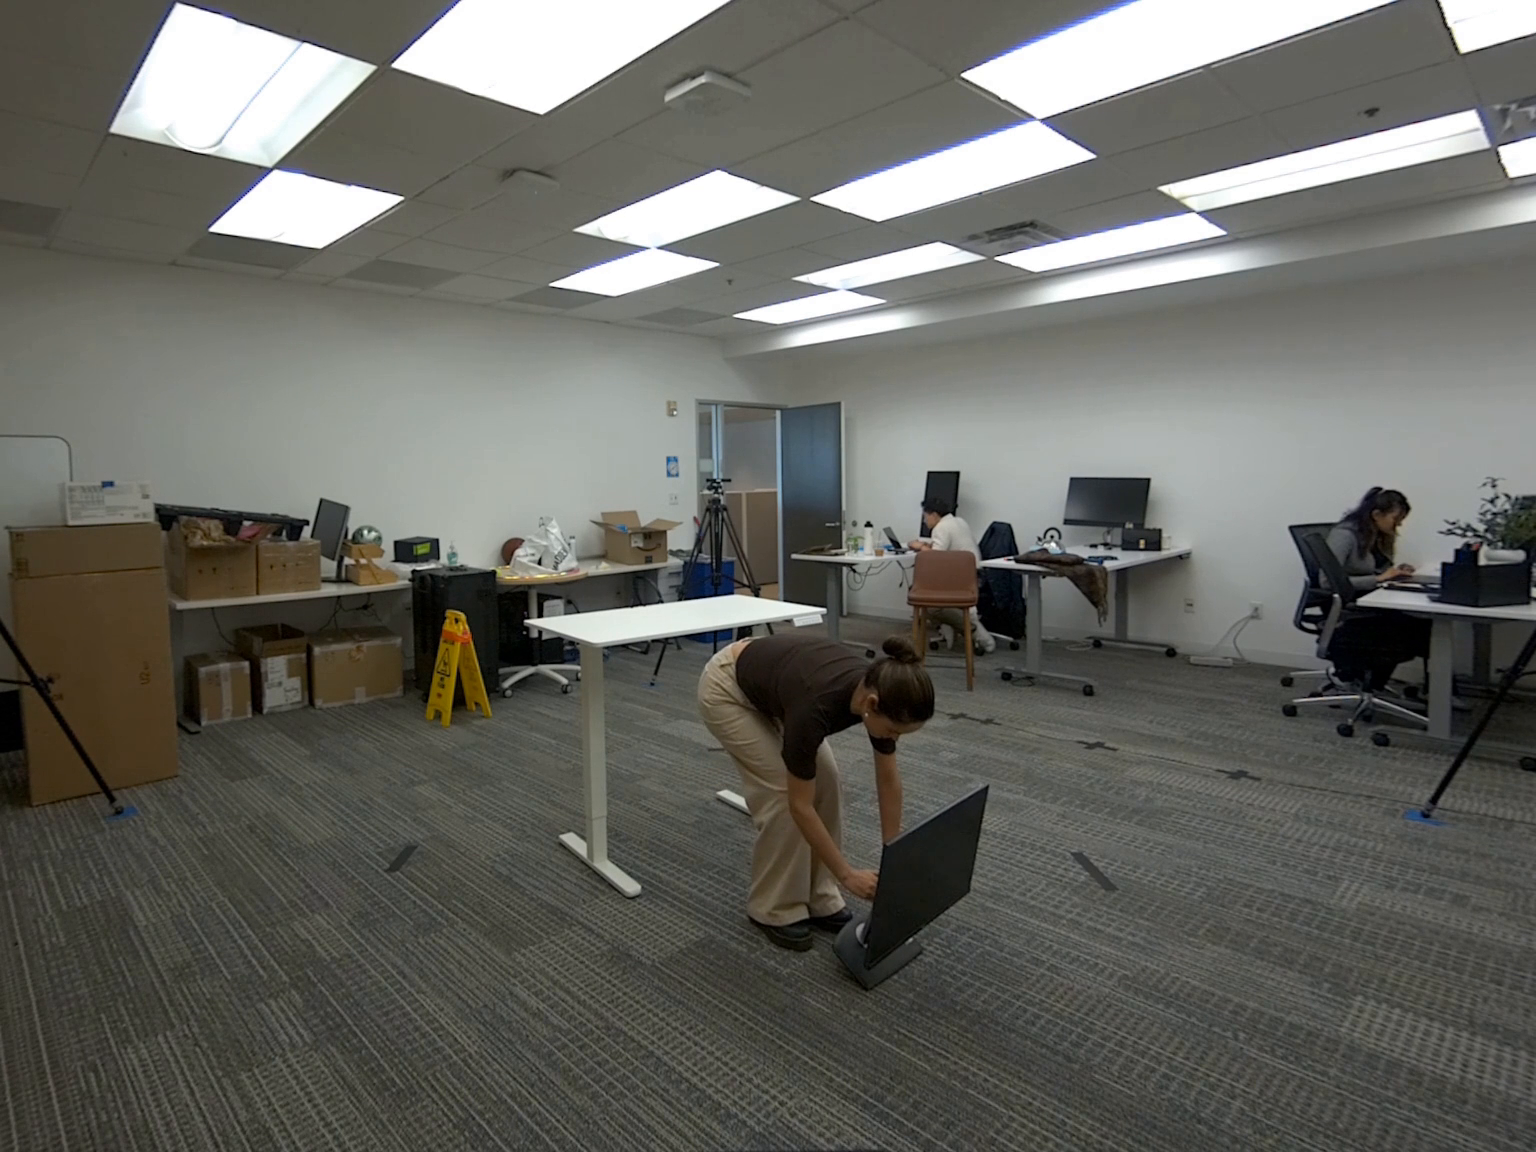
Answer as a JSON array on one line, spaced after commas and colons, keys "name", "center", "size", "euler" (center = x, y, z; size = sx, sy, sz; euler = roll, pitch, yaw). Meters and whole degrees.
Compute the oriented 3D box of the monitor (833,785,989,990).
[{"name": "monitor", "center": [0.389, 0.856, 2.368], "size": [0.194, 0.517, 0.525], "euler": [34, 26, 34]}]
